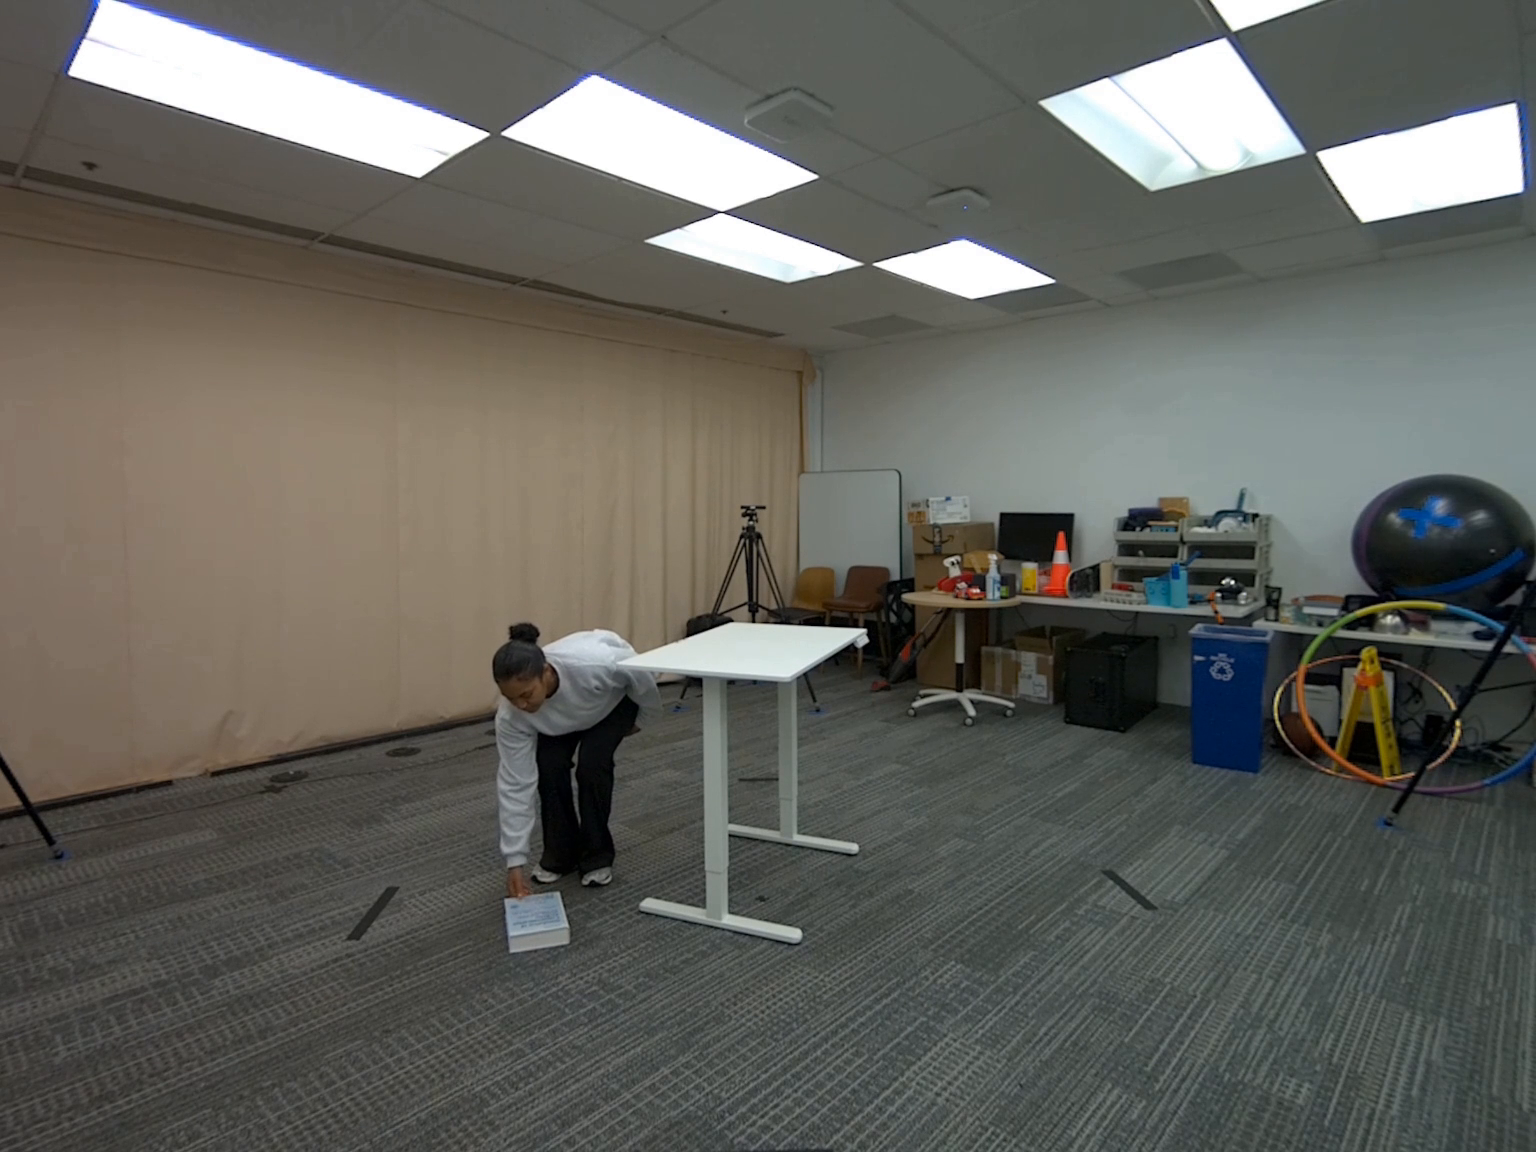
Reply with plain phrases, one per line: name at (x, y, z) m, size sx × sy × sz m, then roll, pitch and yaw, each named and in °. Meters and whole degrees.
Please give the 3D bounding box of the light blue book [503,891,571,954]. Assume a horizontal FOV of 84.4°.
light blue book at (-0.758, 1.128, 2.778) m, size 0.188 × 0.059 × 0.266 m, roll -3°, pitch 5°, yaw -19°
